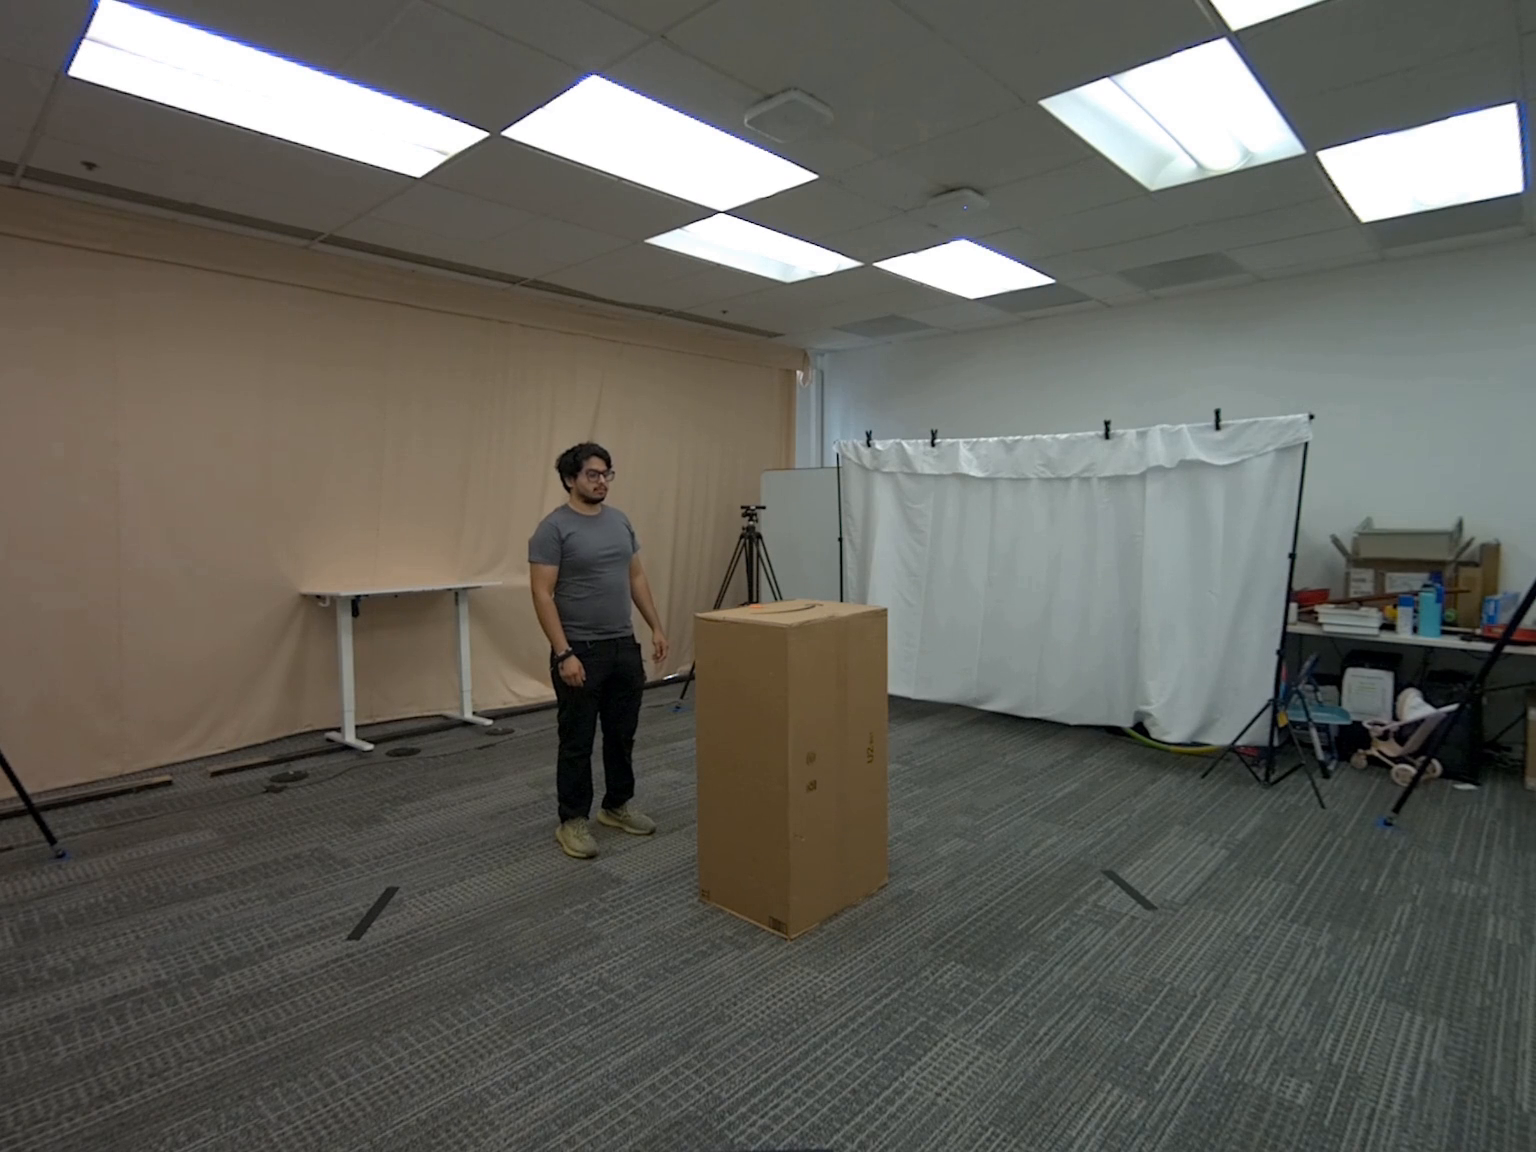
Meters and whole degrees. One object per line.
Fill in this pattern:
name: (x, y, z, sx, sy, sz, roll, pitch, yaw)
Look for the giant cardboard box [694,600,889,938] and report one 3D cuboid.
giant cardboard box: (0.092, 0.632, 3.012, 0.440, 1.023, 0.560, 3, 5, 43)
